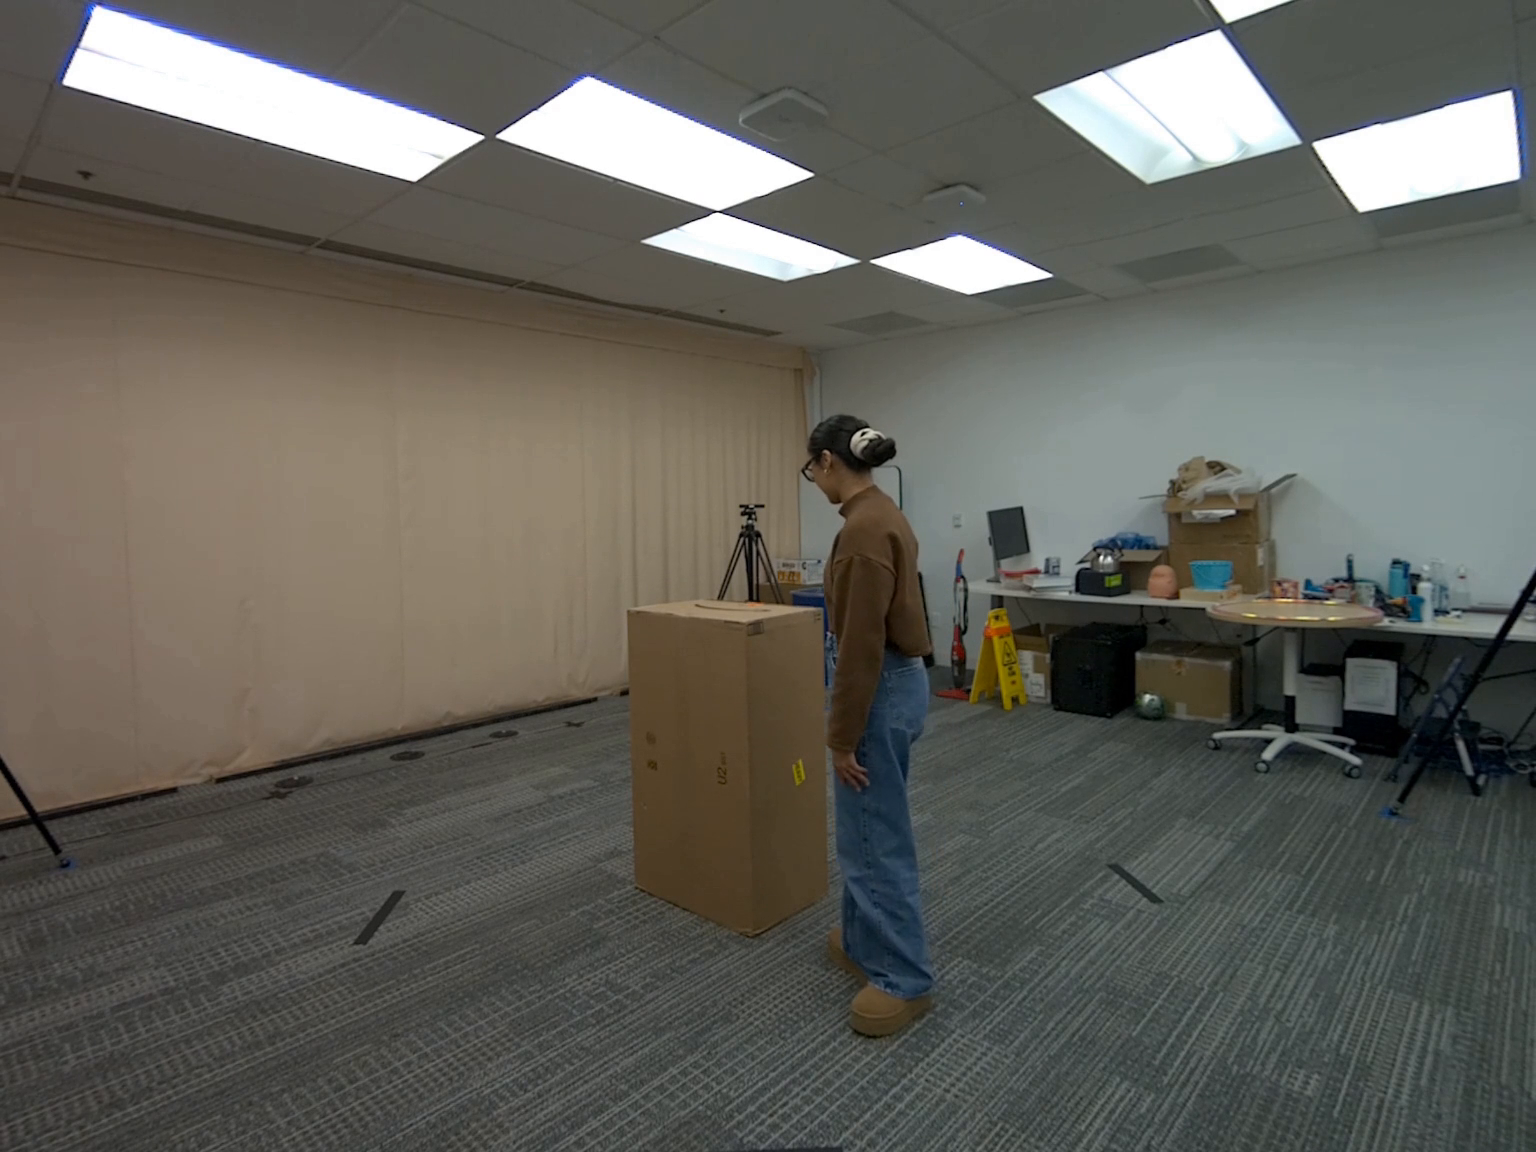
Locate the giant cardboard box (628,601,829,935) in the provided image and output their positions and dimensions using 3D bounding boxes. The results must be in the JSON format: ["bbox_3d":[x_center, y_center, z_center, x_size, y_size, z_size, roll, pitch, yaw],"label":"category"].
[{"bbox_3d":[-0.144,0.632,3.027,0.603,1.025,0.433,2,4,40],"label":"giant cardboard box"}]
